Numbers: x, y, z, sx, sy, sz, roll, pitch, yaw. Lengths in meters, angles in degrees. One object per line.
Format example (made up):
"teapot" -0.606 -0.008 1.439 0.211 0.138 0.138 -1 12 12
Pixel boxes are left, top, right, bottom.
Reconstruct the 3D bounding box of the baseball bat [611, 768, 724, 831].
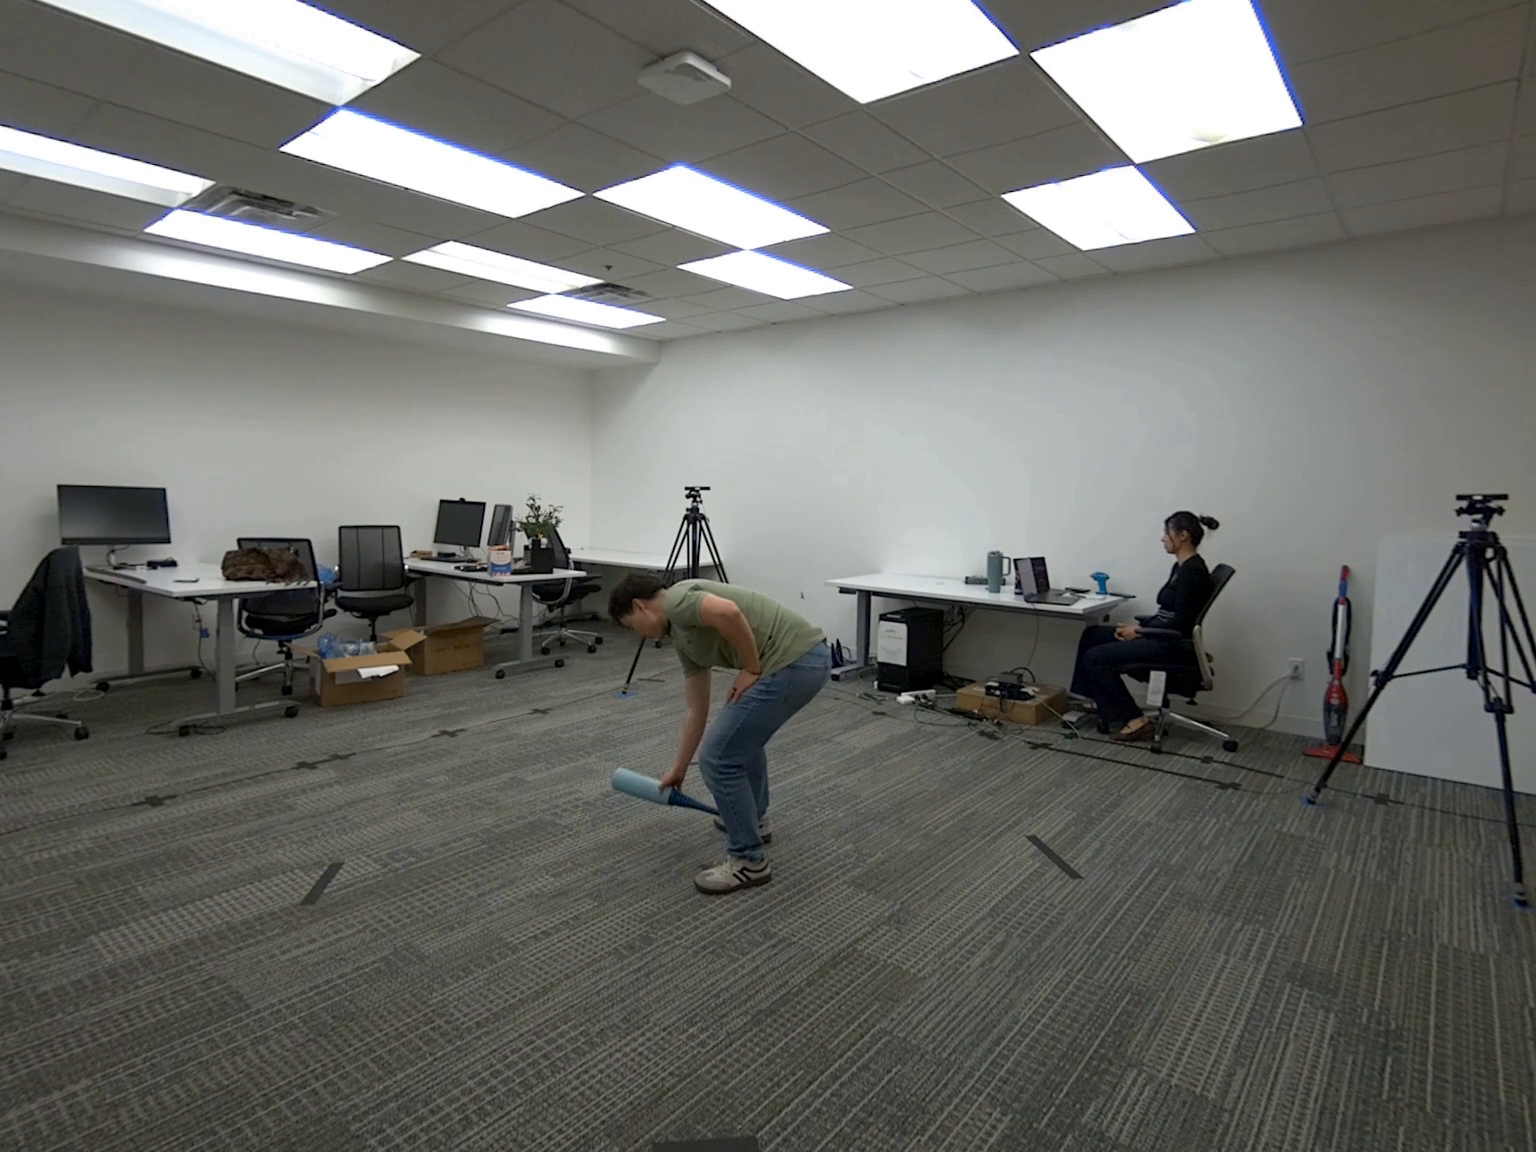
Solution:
"baseball bat" -0.365 0.853 3.298 0.554 0.088 0.088 13 7 16
